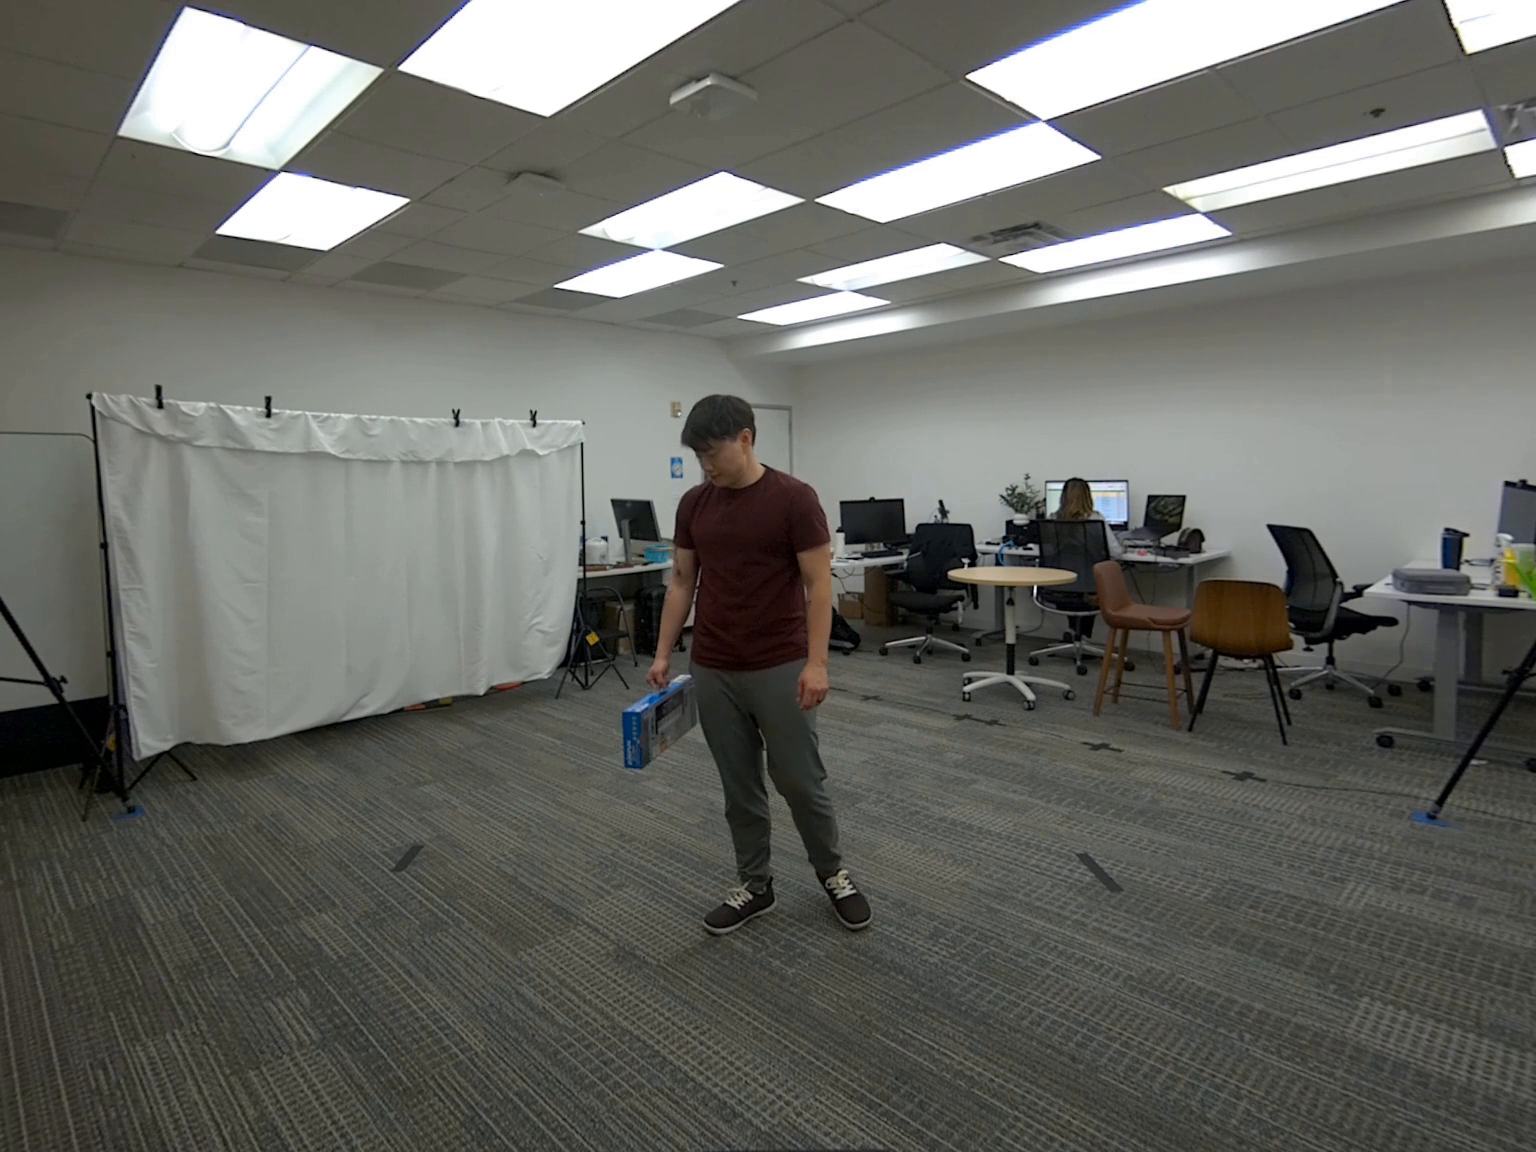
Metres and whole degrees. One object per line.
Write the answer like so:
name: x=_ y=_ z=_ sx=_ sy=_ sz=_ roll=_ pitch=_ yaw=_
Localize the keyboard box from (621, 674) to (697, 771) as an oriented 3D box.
keyboard box: x=-0.323 y=0.448 z=2.682 sx=0.060 sy=0.175 sz=0.432 roll=-1 pitch=7 yaw=17
